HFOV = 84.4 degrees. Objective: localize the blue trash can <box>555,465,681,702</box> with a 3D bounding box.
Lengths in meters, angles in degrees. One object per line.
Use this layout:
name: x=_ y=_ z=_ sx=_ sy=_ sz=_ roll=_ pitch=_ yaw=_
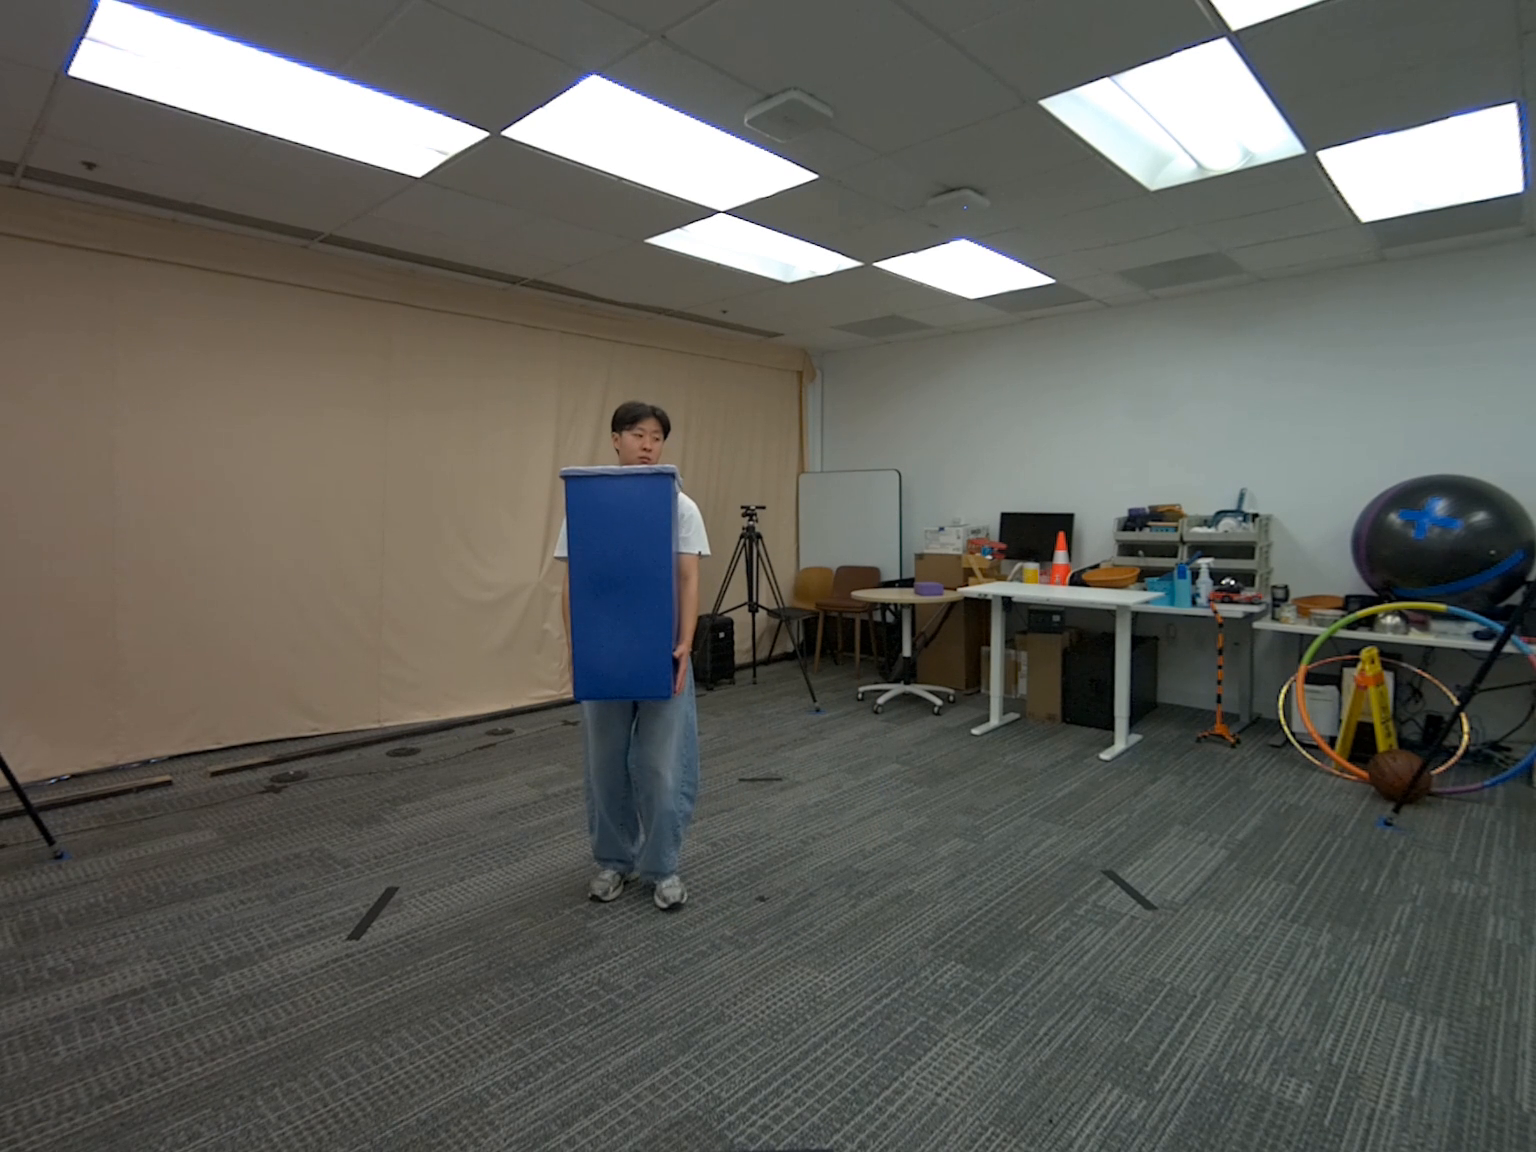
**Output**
blue trash can: x=-0.461 y=0.022 z=2.728 sx=0.374 sy=0.715 sz=0.377 roll=-1 pitch=-3 yaw=-2
